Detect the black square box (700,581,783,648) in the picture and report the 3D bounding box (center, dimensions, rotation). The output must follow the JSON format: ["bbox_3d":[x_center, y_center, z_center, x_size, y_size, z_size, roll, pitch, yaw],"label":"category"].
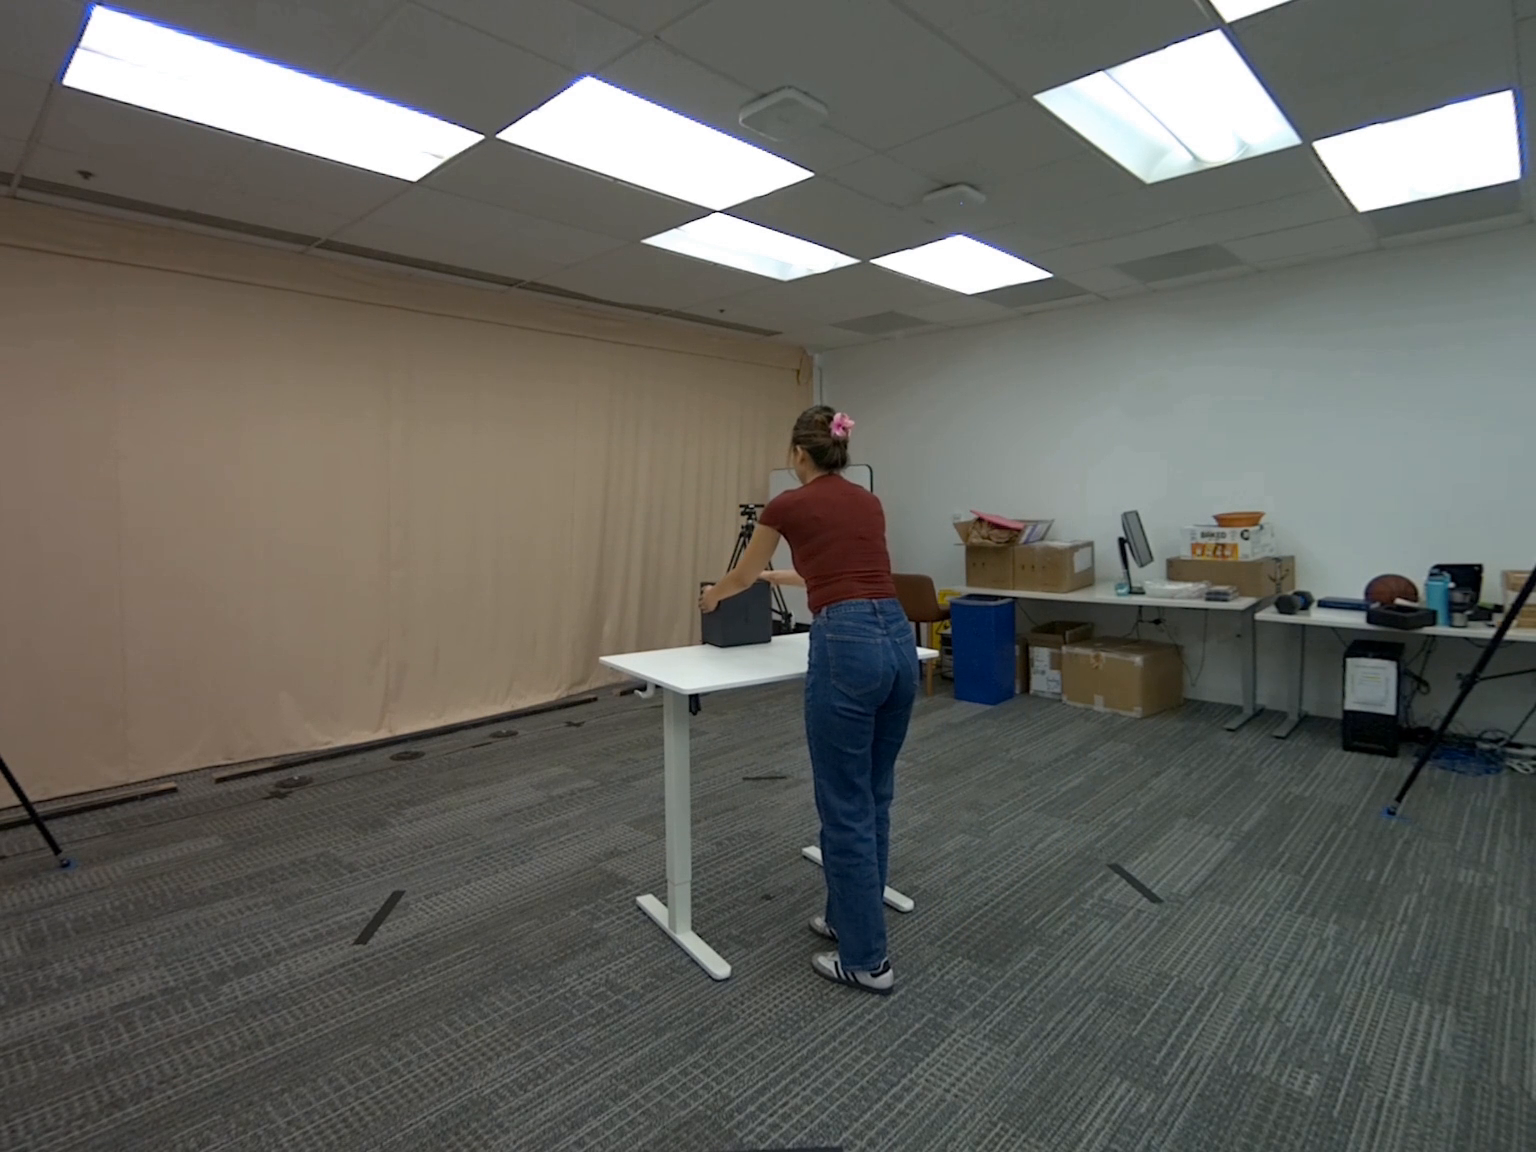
[{"bbox_3d":[-0.112,0.132,3.105,0.211,0.227,0.160,-3,4,-32],"label":"black square box"}]
